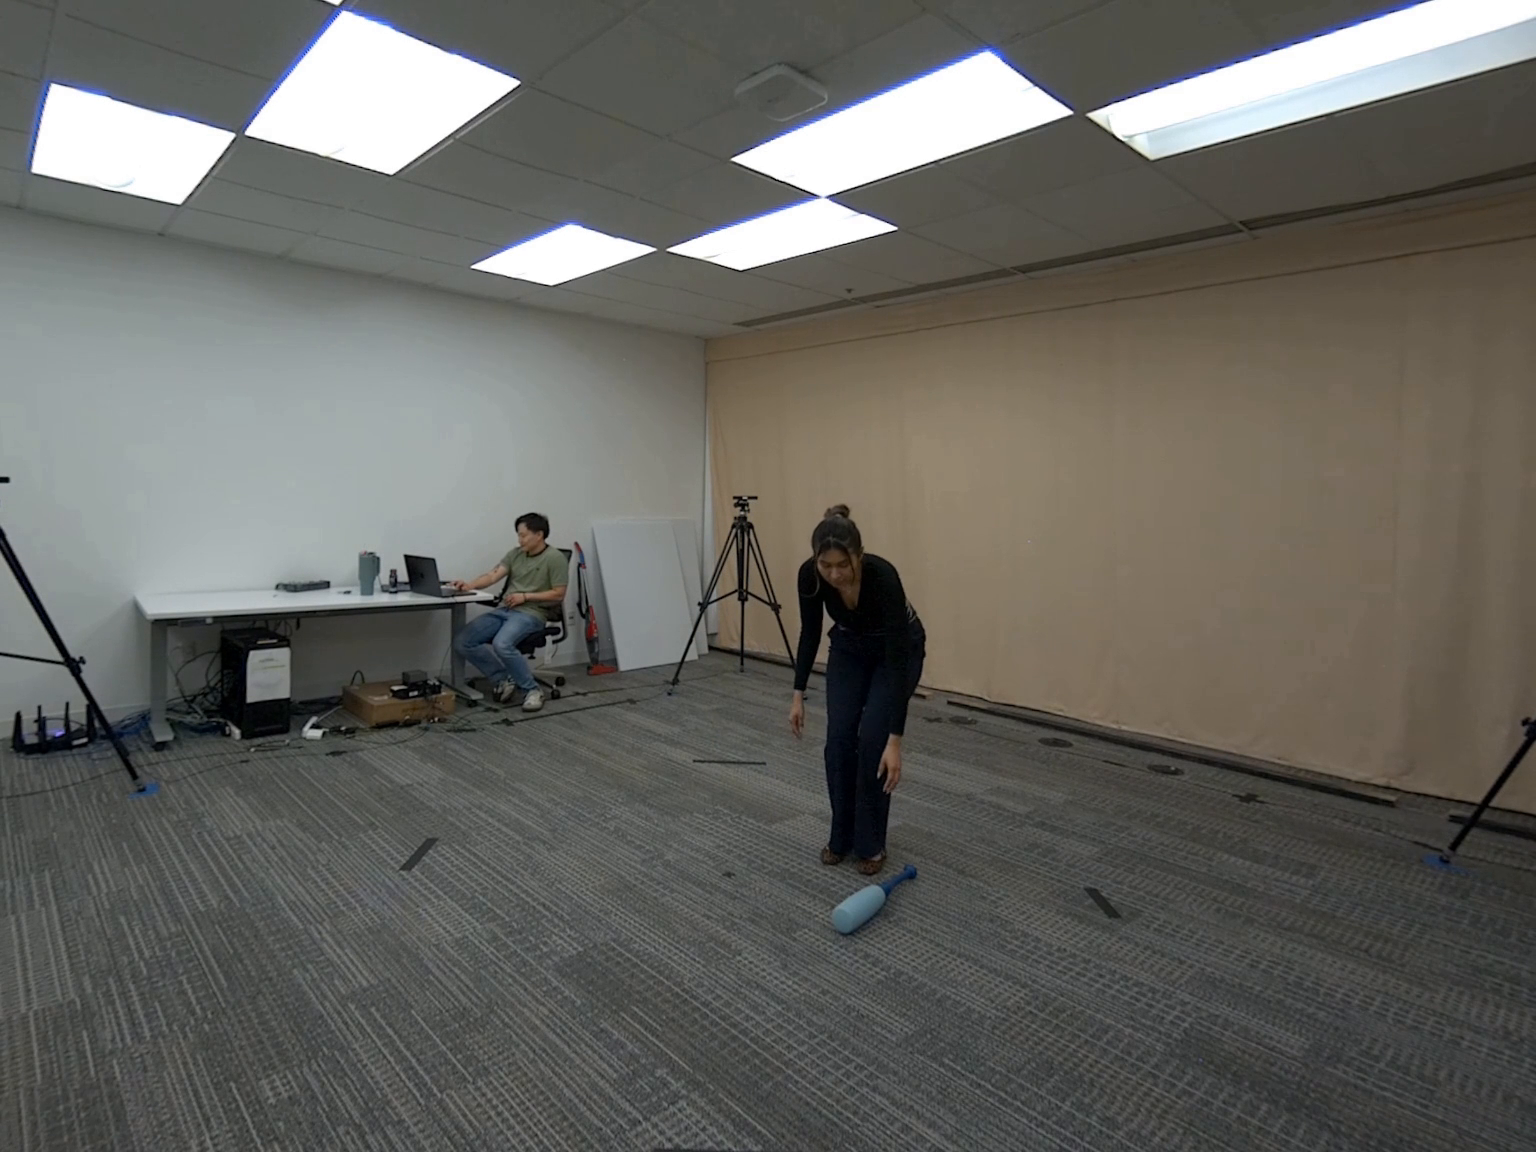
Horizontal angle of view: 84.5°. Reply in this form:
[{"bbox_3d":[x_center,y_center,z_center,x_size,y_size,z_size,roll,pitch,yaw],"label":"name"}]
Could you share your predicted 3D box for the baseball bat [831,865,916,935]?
[{"bbox_3d":[0.377,1.100,2.895,0.091,0.089,0.531,4,3,34],"label":"baseball bat"}]
